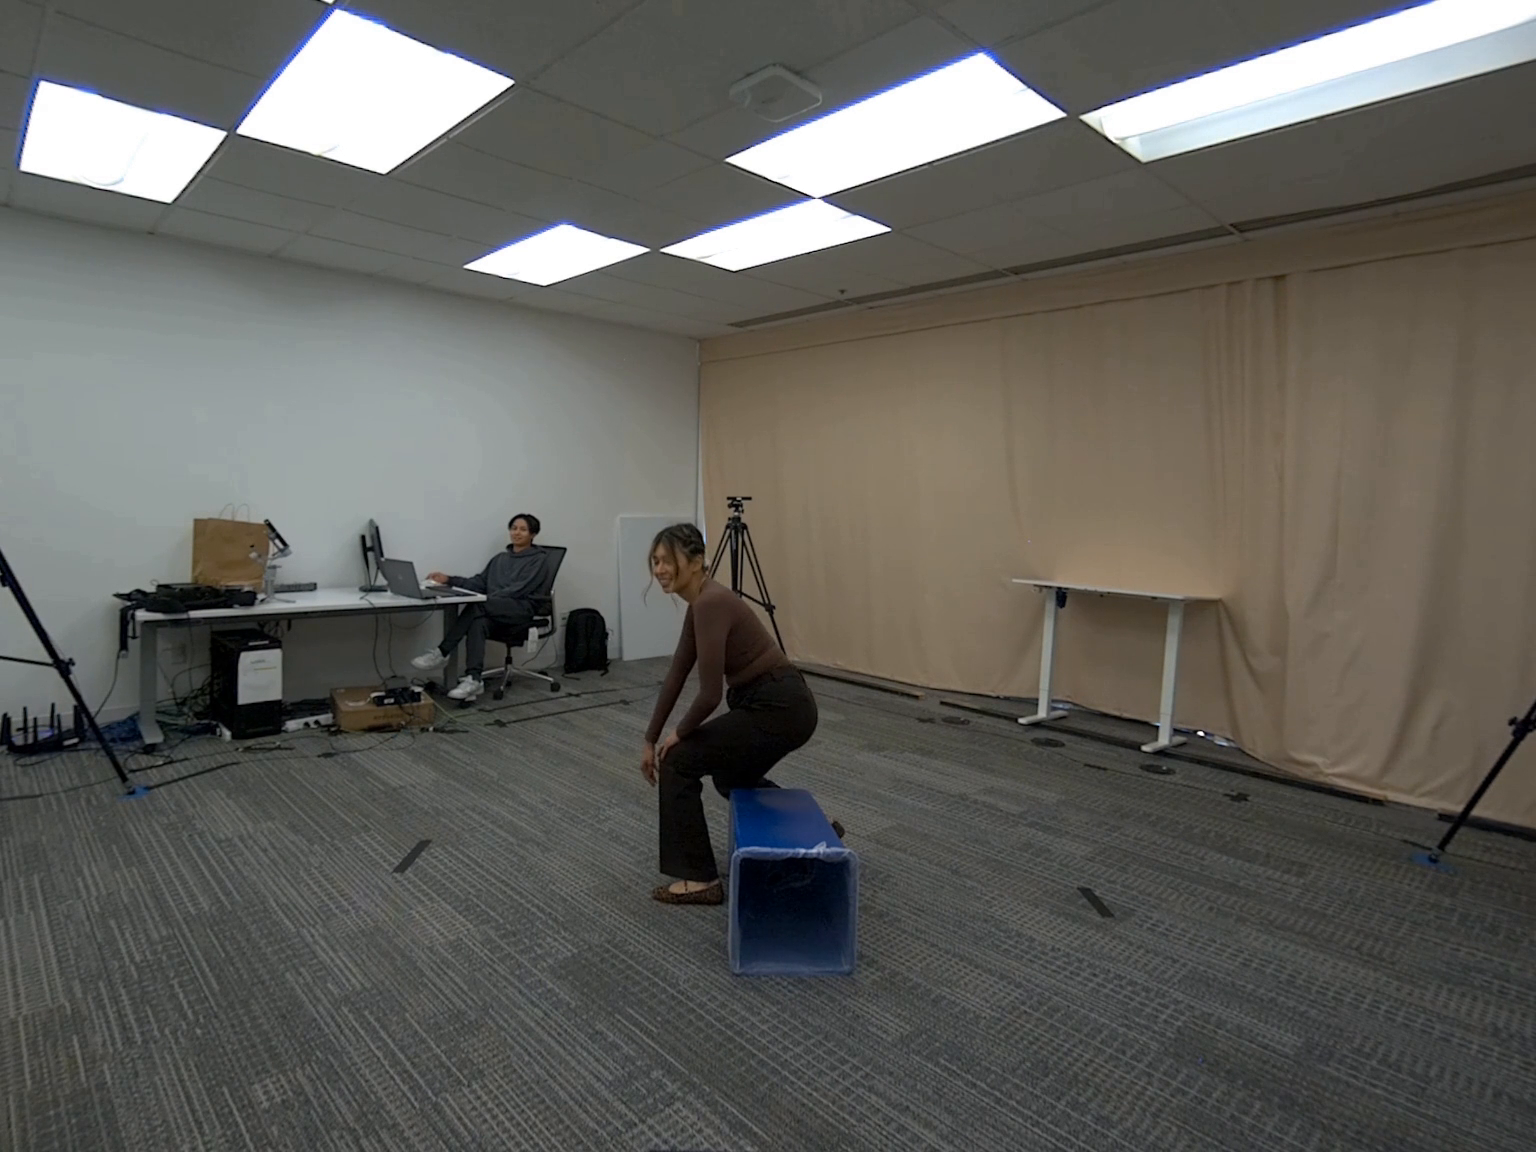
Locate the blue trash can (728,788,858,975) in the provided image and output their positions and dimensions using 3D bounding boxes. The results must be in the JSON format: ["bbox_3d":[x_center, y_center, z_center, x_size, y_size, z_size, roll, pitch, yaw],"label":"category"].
[{"bbox_3d":[0.031,0.969,2.805,0.372,0.378,0.717,1,2,-6],"label":"blue trash can"}]
